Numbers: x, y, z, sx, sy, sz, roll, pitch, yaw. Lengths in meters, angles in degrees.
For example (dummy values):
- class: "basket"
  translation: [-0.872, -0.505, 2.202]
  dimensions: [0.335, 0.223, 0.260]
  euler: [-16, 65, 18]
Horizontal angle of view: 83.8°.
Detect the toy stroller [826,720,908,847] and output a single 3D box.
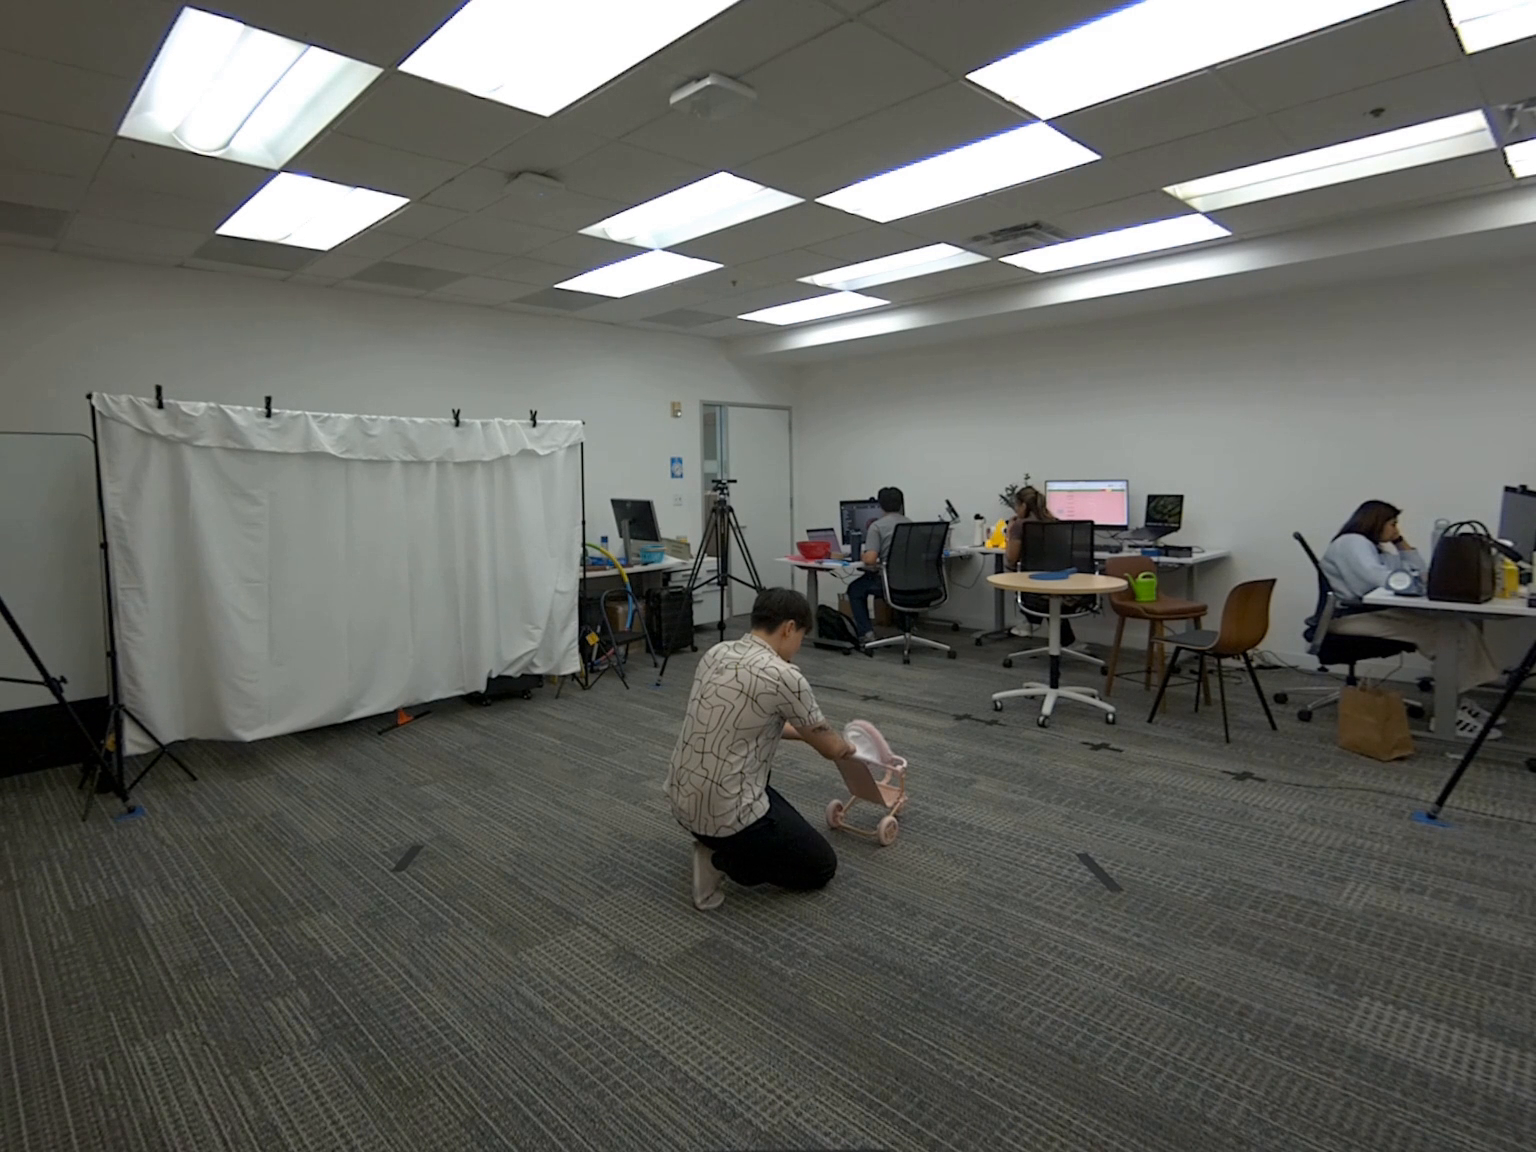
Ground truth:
- class: "toy stroller"
  translation: [0.396, 0.788, 3.359]
  dimensions: [0.290, 0.524, 0.337]
  euler: [6, 28, 46]
